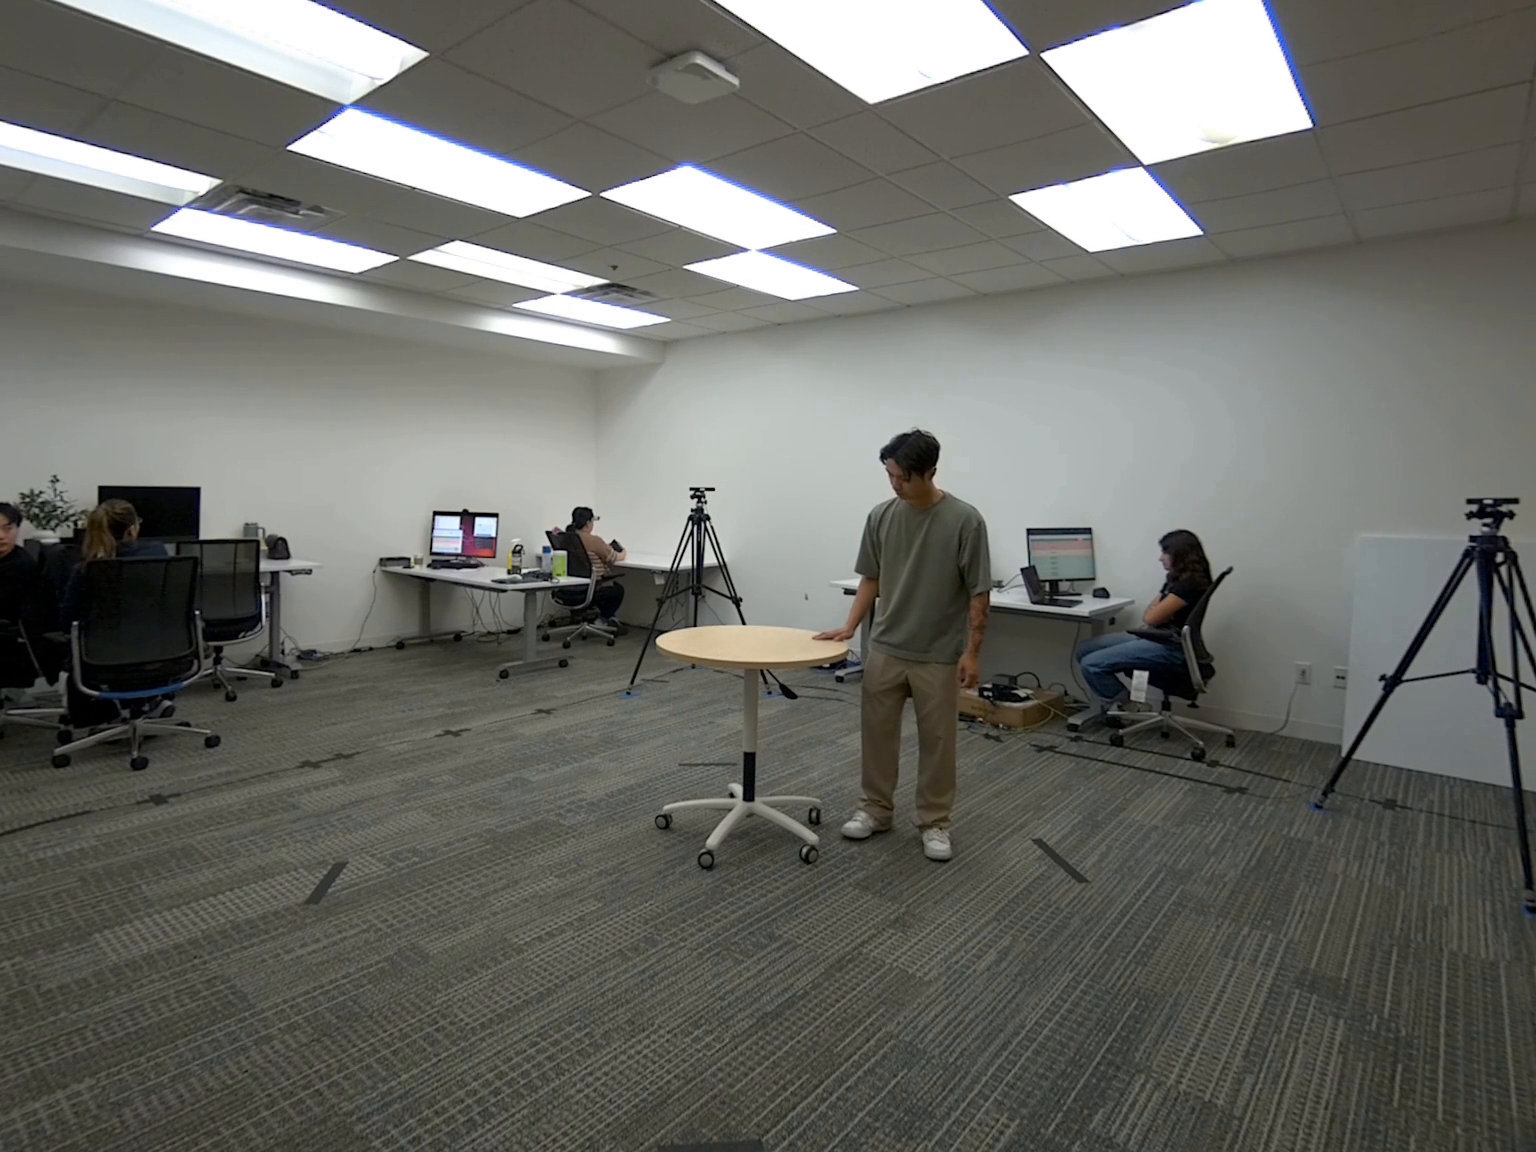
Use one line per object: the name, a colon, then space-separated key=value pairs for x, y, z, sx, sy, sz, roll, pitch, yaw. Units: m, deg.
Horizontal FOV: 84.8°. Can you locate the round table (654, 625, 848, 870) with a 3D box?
round table: x=-0.085 y=0.654 z=3.416 sx=0.763 sy=0.791 sz=0.768 roll=1 pitch=4 yaw=-2
